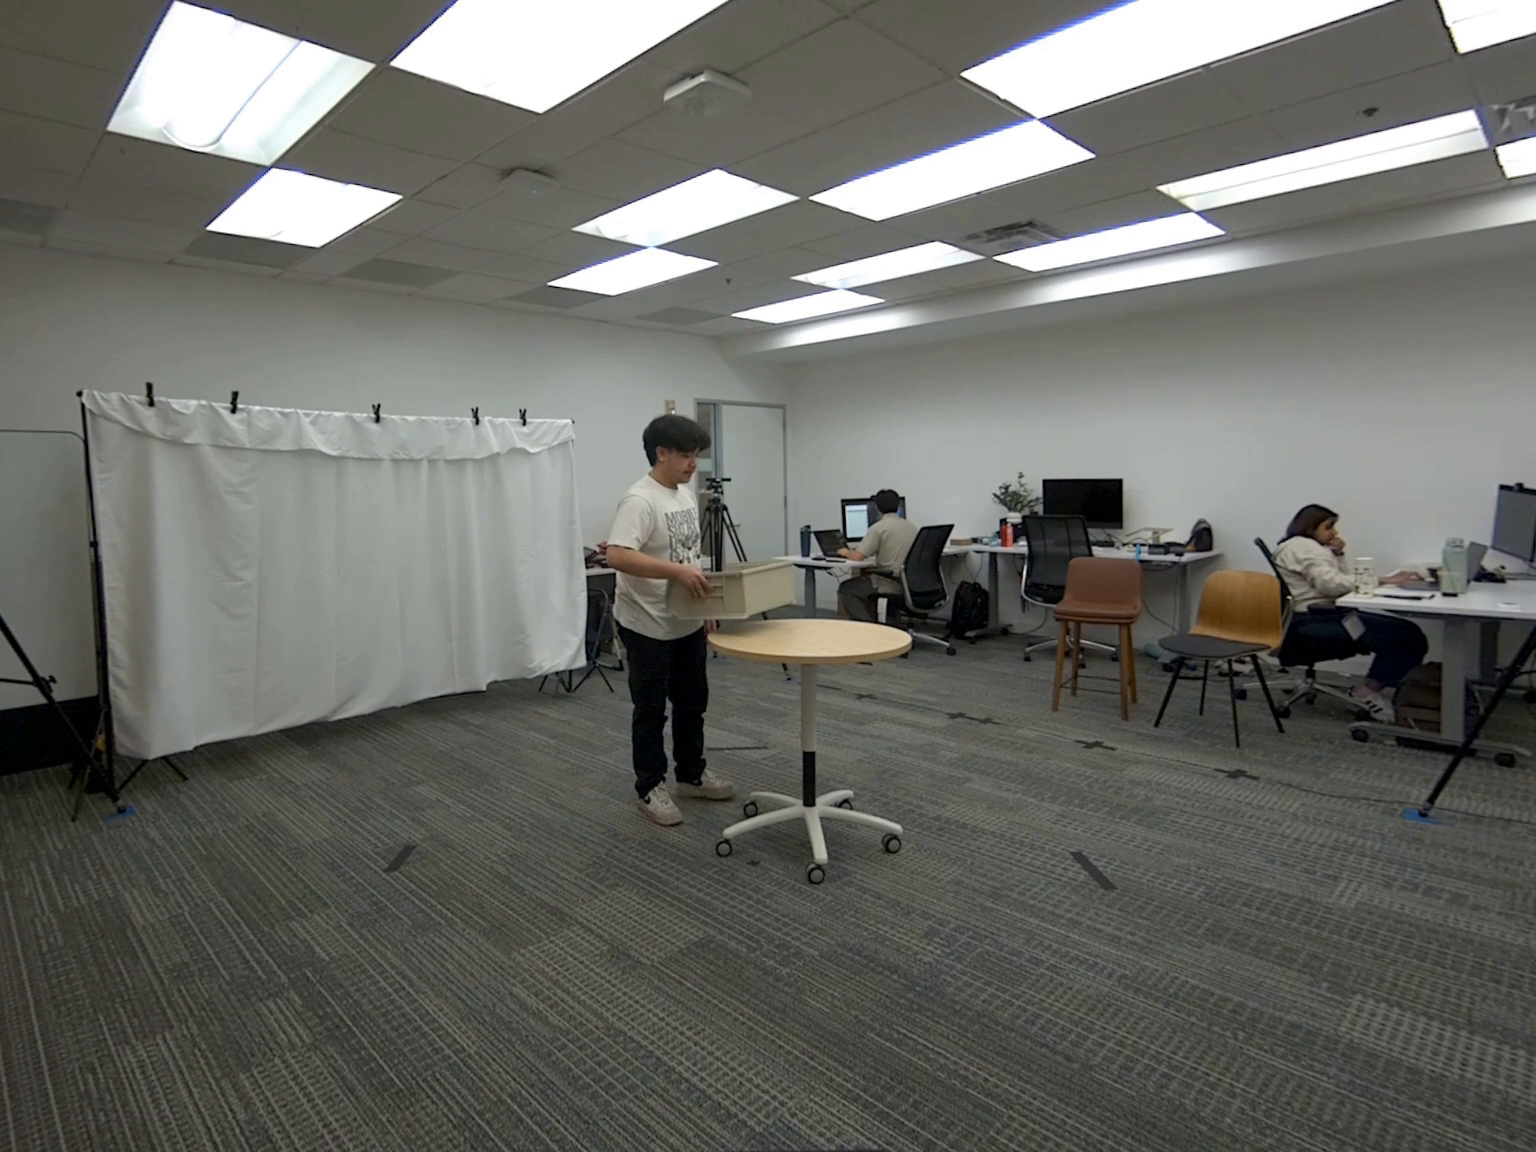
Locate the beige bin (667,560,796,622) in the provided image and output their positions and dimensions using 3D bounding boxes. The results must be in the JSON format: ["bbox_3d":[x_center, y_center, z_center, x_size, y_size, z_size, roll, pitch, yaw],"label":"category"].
[{"bbox_3d":[-0.134,0.056,3.432,0.387,0.188,0.413,-2,4,31],"label":"beige bin"}]
